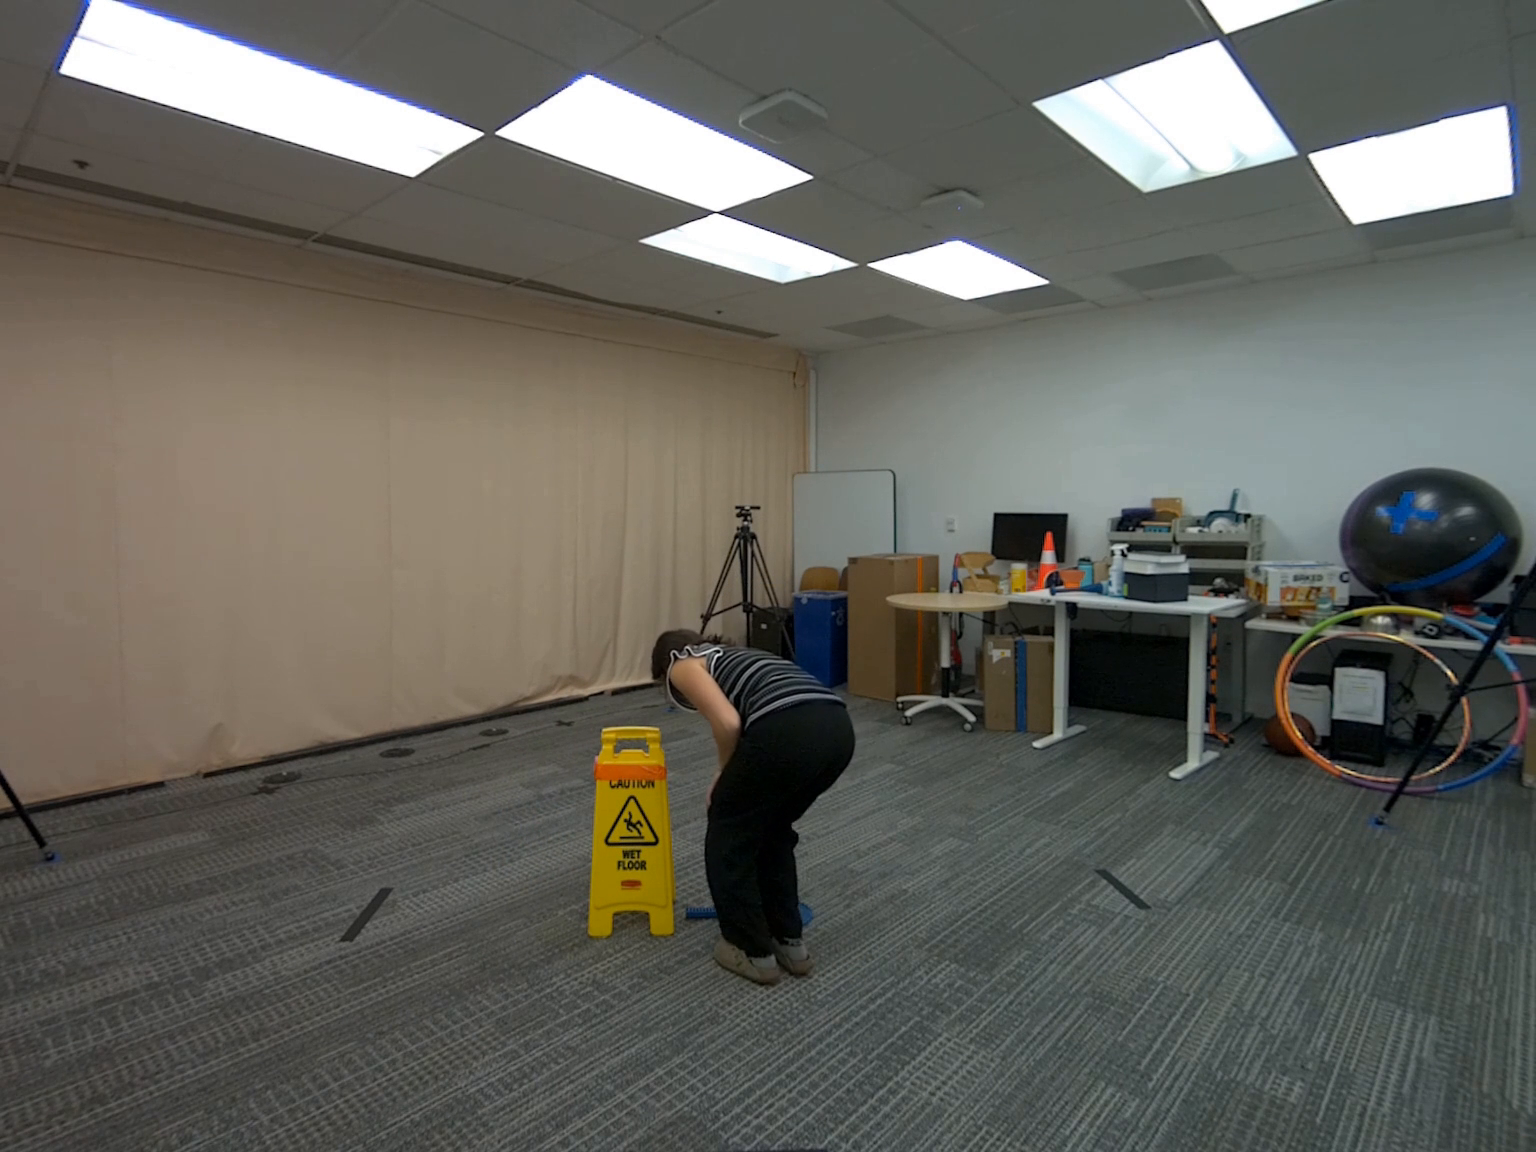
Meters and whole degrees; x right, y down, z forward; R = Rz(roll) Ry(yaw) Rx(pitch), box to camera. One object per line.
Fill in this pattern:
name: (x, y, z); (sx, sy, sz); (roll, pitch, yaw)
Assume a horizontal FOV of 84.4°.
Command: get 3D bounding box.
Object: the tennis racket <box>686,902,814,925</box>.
tennis racket: (-0.060, 1.138, 2.858); (0.432, 0.032, 0.215); (1, 3, -3)
